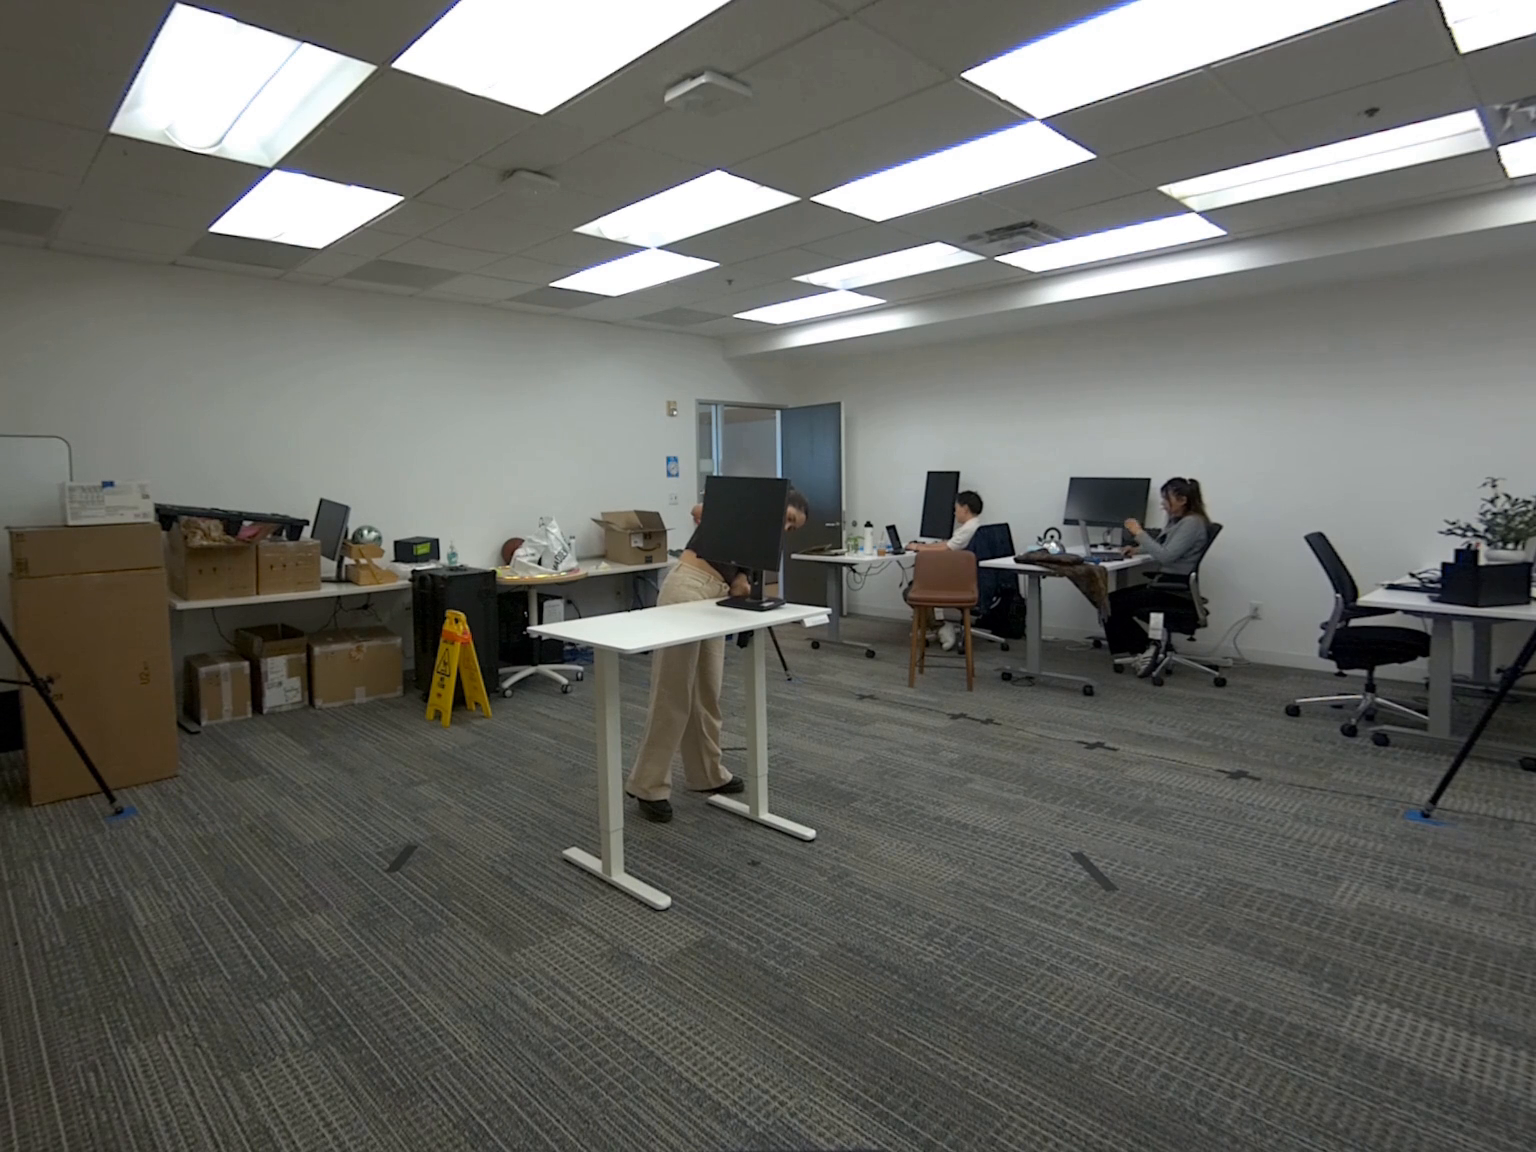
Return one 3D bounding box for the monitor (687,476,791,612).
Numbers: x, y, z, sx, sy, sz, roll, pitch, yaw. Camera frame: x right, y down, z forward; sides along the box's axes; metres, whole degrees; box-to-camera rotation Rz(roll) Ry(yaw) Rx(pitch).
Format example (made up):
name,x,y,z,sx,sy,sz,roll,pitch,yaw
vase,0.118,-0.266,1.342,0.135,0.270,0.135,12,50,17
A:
name,x,y,z,sx,sy,sz,roll,pitch,yaw
monitor,-0.085,-0.135,3.424,0.183,0.518,0.556,-9,11,-37
